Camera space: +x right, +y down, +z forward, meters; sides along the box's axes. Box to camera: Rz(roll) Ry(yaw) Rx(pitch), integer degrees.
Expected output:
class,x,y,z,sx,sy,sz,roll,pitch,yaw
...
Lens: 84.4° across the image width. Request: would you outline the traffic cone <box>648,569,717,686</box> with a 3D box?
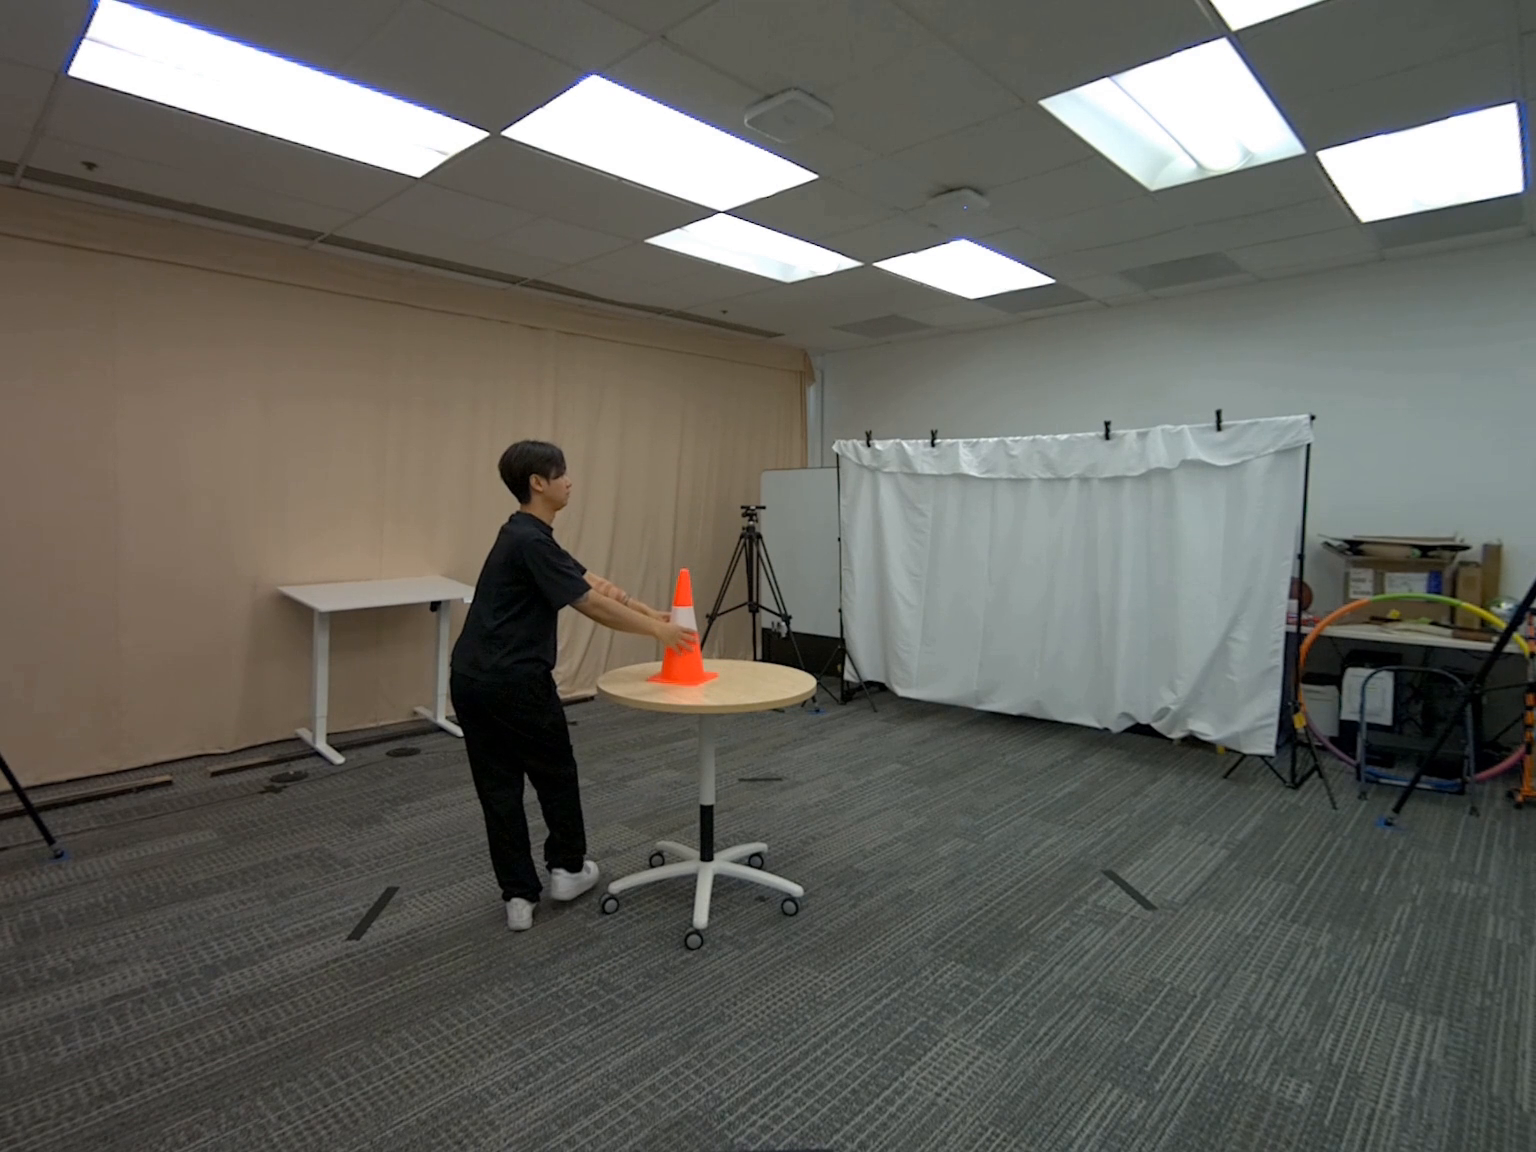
class,x,y,z,sx,sy,sz,roll,pitch,yaw
traffic cone,-0.294,0.168,2.950,0.209,0.383,0.200,4,5,27
